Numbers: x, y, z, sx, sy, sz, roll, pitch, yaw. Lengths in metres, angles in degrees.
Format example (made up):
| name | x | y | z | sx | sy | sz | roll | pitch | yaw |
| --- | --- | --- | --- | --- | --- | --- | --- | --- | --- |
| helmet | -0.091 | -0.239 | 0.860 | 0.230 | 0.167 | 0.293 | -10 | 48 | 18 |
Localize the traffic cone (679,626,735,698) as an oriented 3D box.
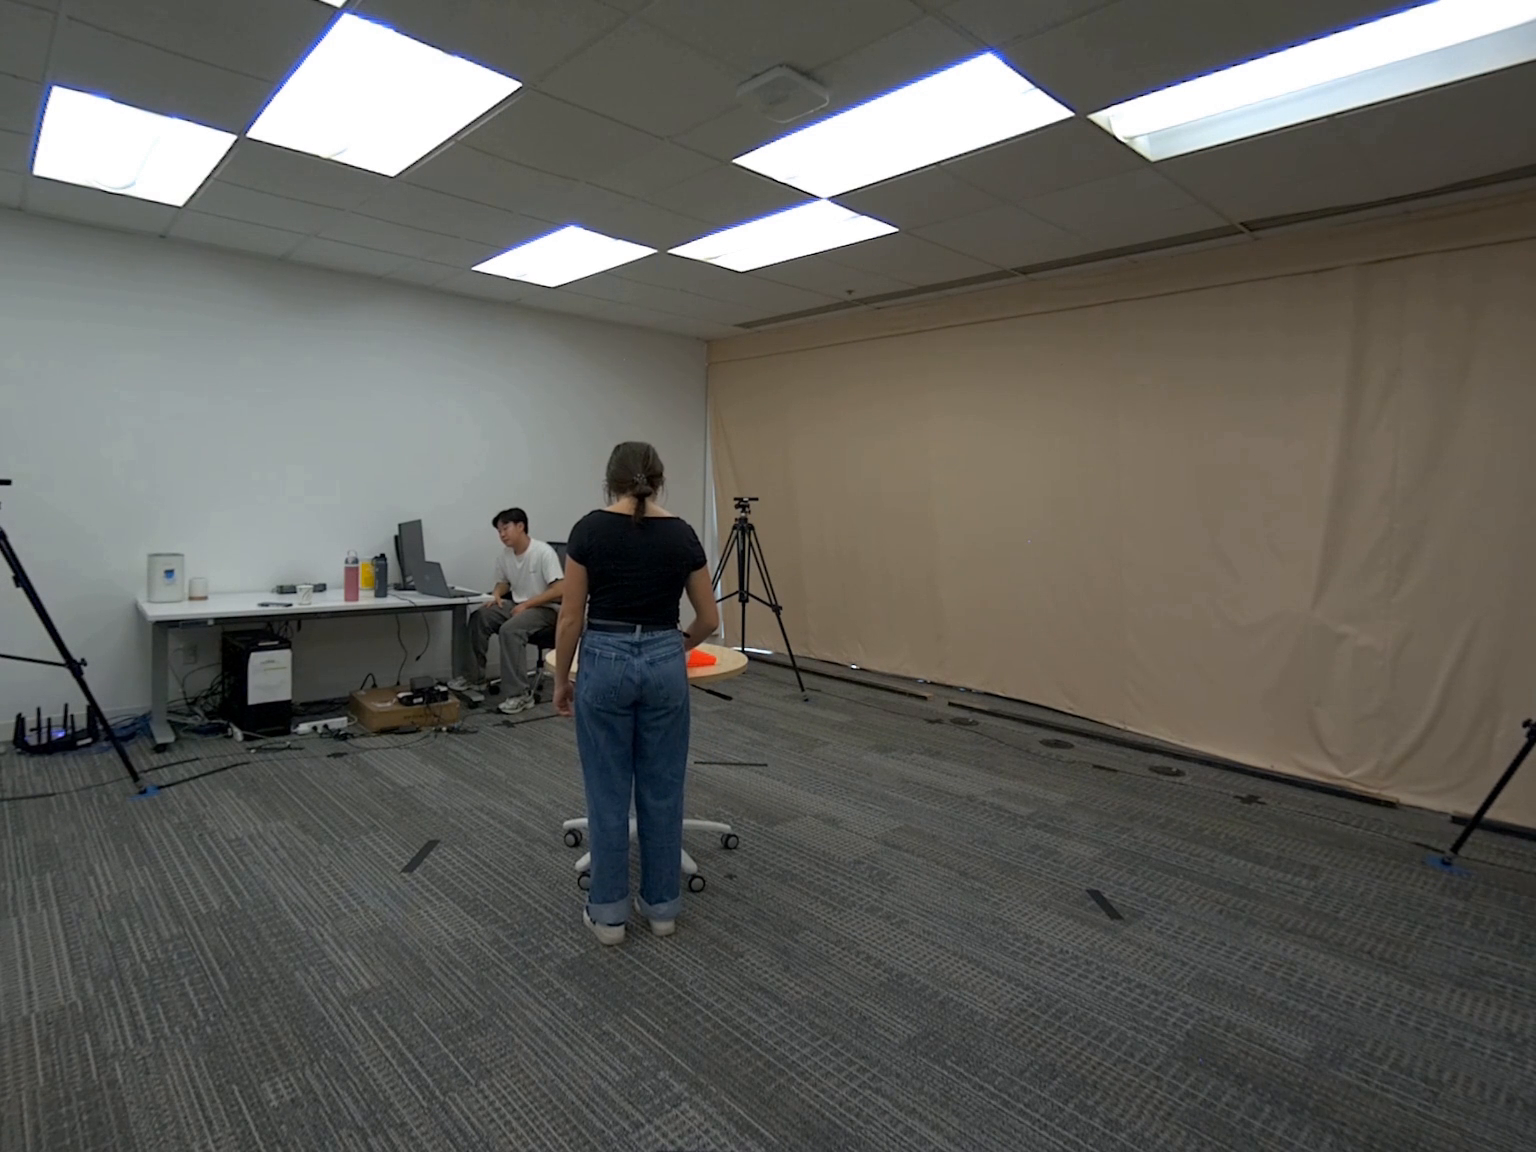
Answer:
| name | x | y | z | sx | sy | sz | roll | pitch | yaw |
| --- | --- | --- | --- | --- | --- | --- | --- | --- | --- |
| traffic cone | -0.355 | 0.281 | 3.005 | 0.374 | 0.205 | 0.208 | 14 | -3 | -29 |
